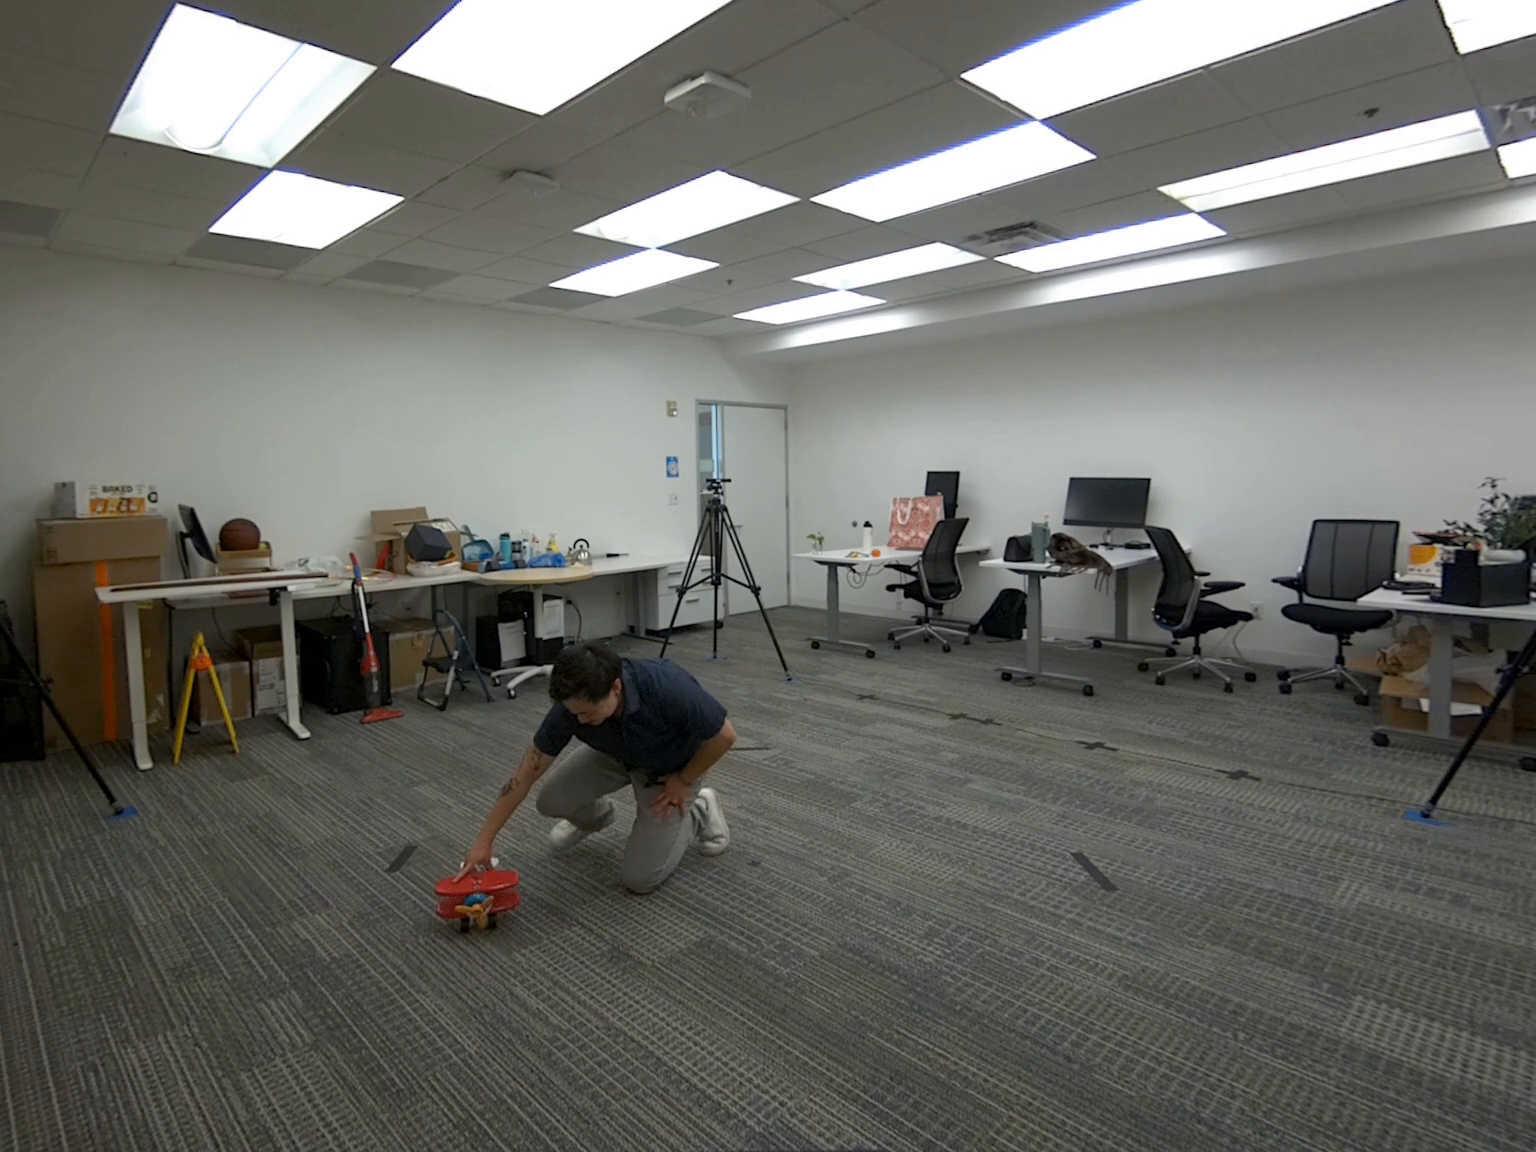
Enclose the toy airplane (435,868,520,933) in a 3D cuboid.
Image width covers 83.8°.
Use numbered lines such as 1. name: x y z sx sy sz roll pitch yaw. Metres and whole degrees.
1. toy airplane: -0.940 1.004 2.730 0.247 0.153 0.269 -21 41 -38
